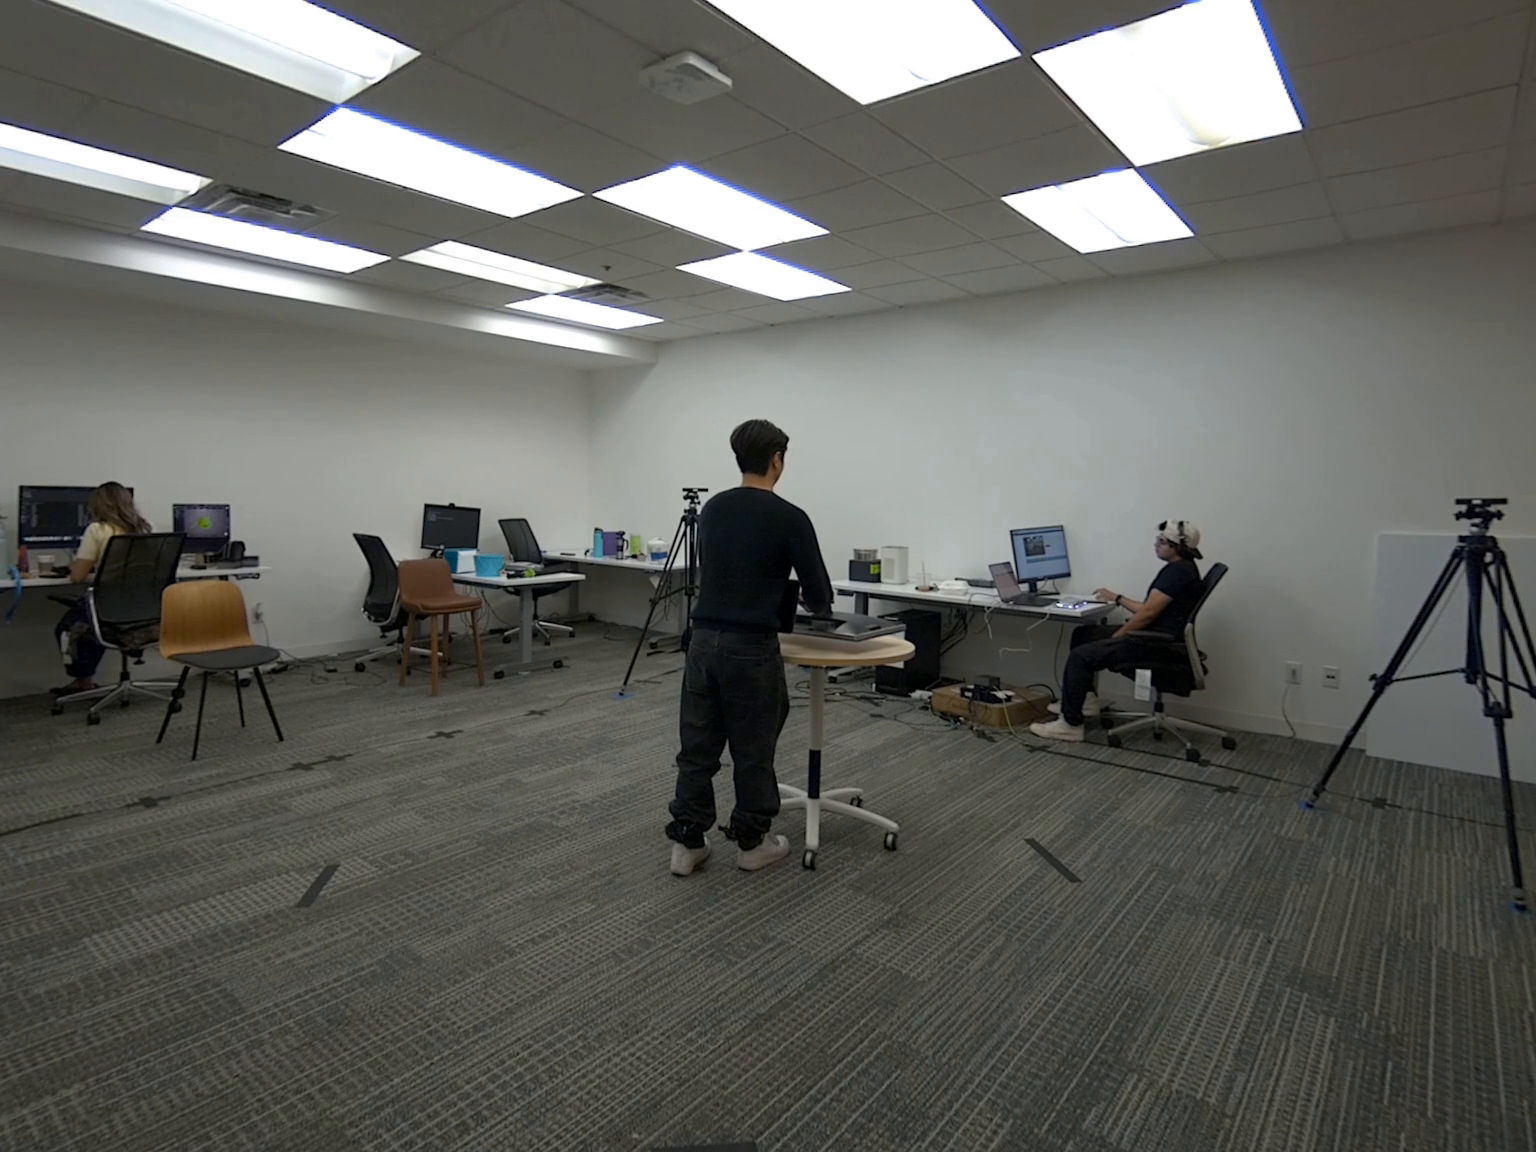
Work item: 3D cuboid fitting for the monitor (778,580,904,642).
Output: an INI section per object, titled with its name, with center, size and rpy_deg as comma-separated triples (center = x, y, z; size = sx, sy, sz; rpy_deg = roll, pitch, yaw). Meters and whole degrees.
[monitor]
center = 0.166, 0.147, 3.408
size = 0.558, 0.188, 0.503
rpy_deg = 7, -6, 43
